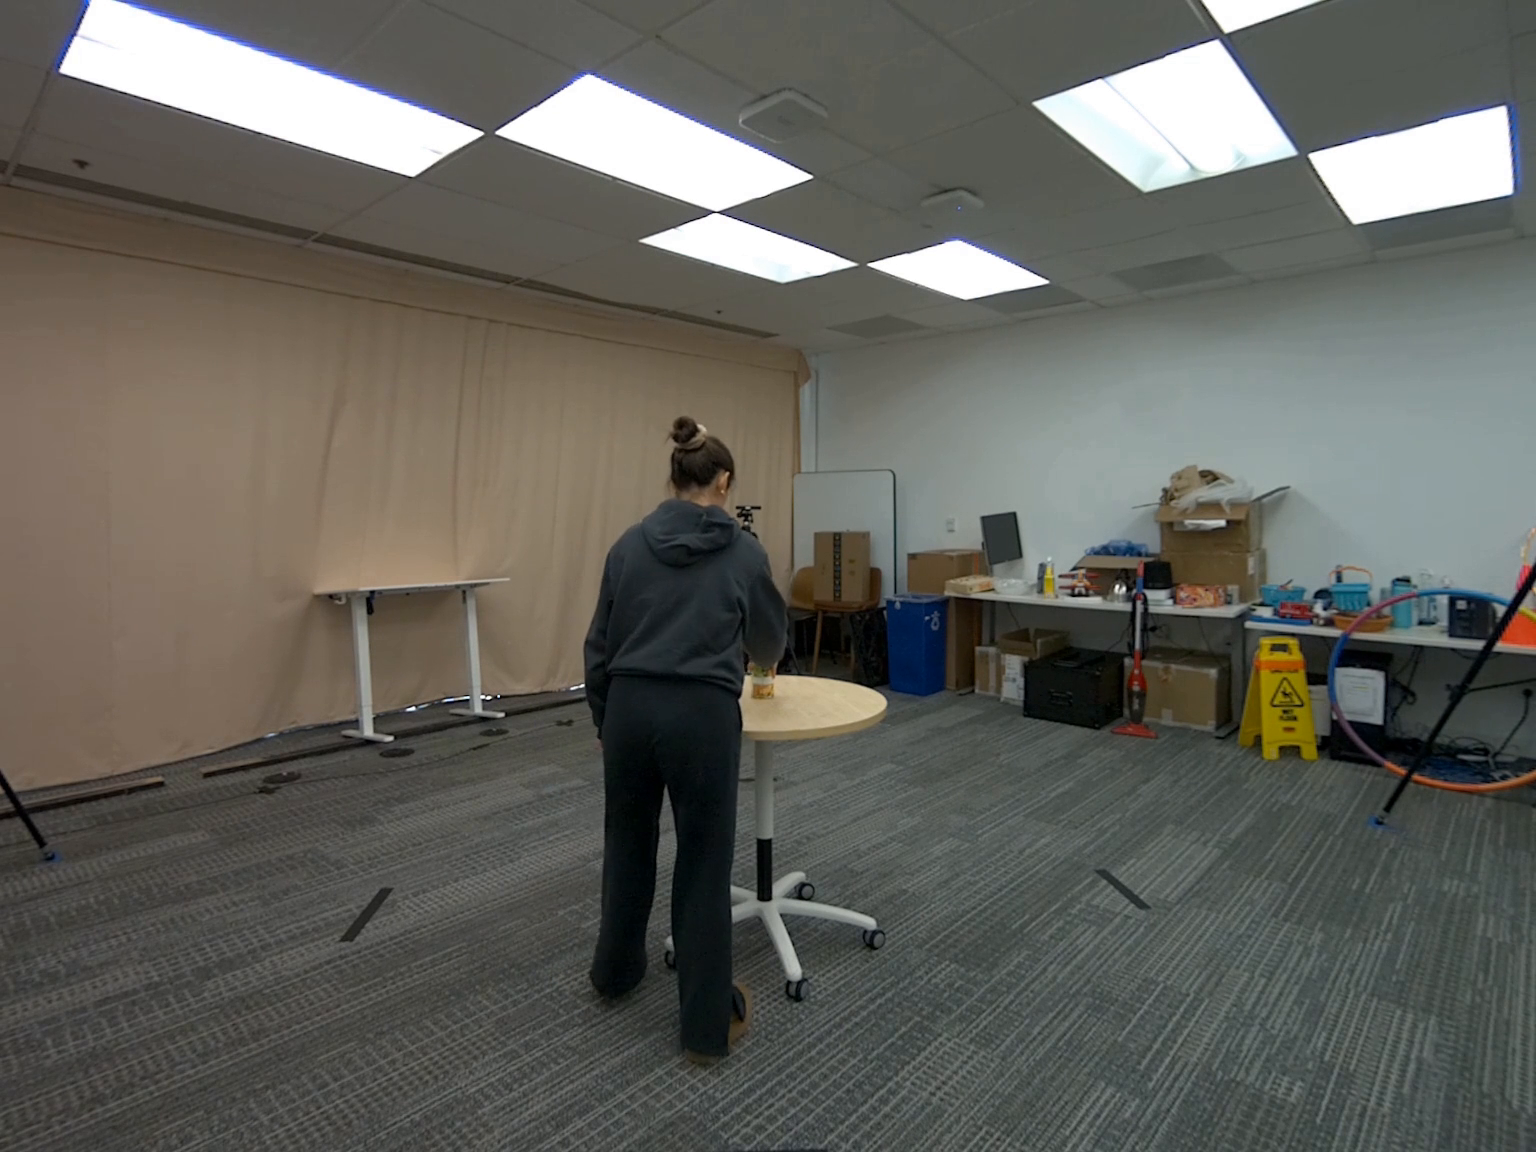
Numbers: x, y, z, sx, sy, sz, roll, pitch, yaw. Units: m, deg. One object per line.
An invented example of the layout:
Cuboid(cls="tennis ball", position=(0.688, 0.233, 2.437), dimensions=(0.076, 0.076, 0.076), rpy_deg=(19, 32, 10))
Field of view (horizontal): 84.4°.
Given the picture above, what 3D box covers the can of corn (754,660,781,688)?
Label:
Cuboid(cls="can of corn", position=(-0.005, 0.283, 2.652), dimensions=(0.074, 0.110, 0.074), rpy_deg=(1, 7, -2))
